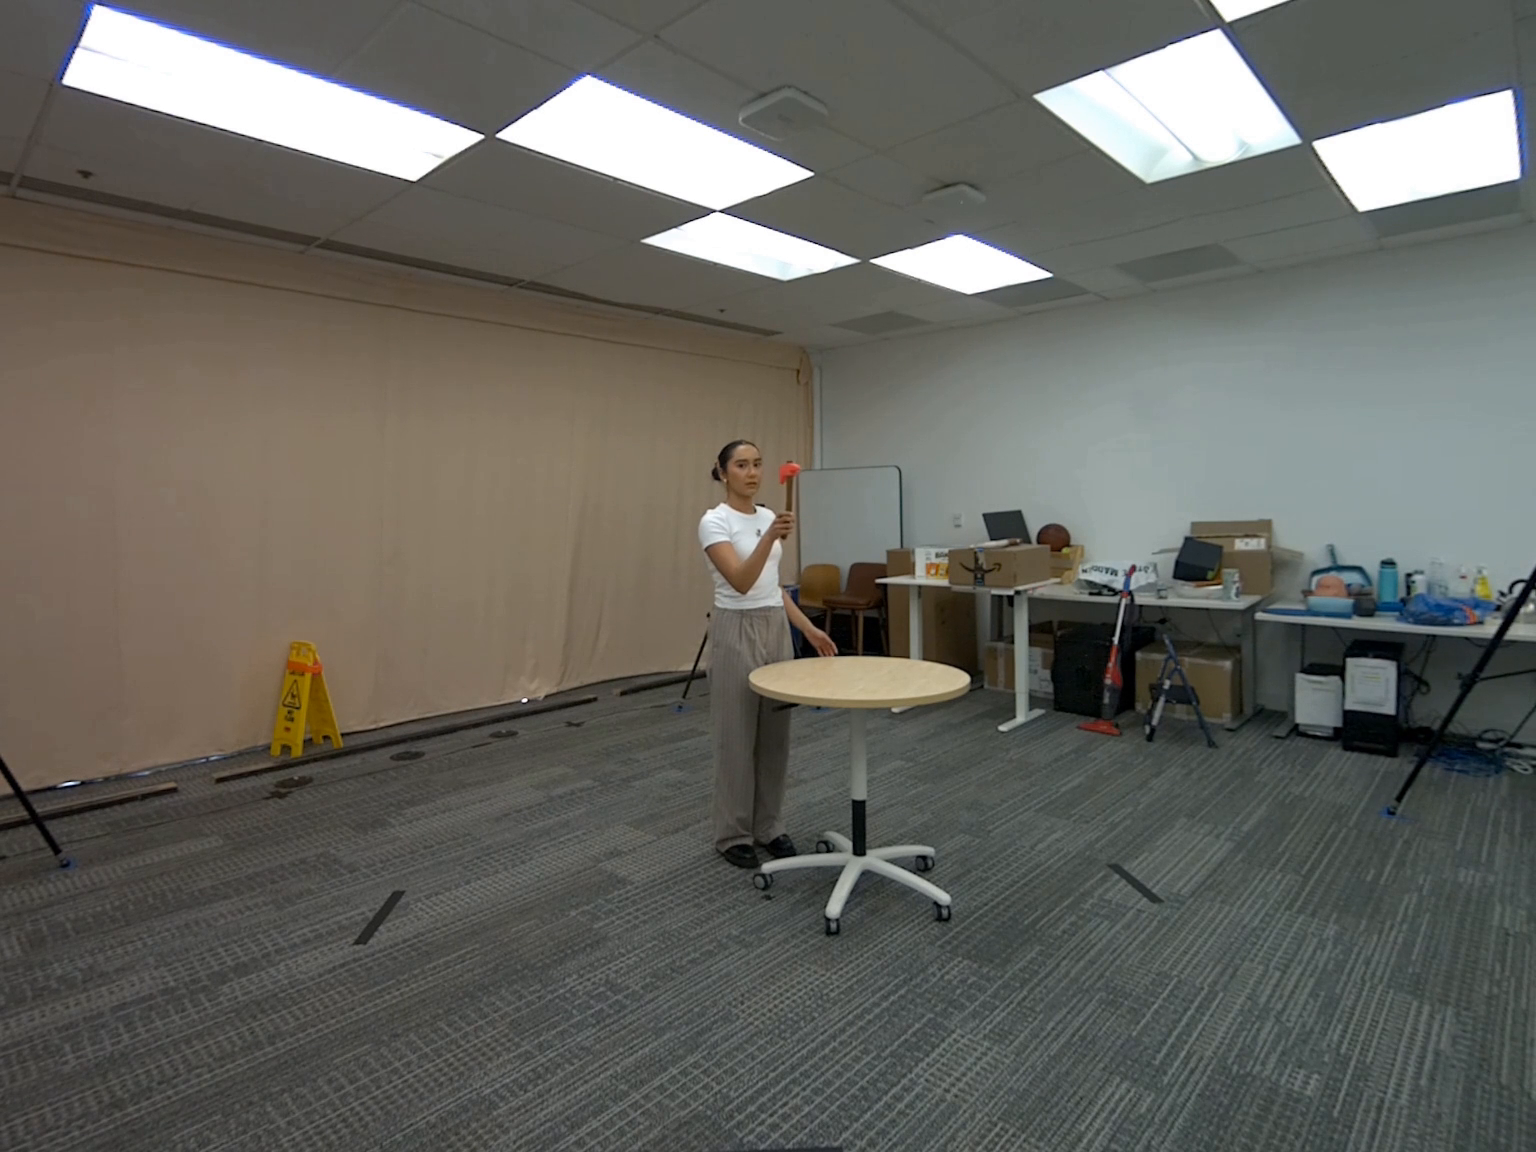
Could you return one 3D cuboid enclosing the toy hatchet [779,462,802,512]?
[{"bbox_3d":[0.064,-0.276,2.945,0.029,0.268,0.135,1,22,-29],"label":"toy hatchet"}]
